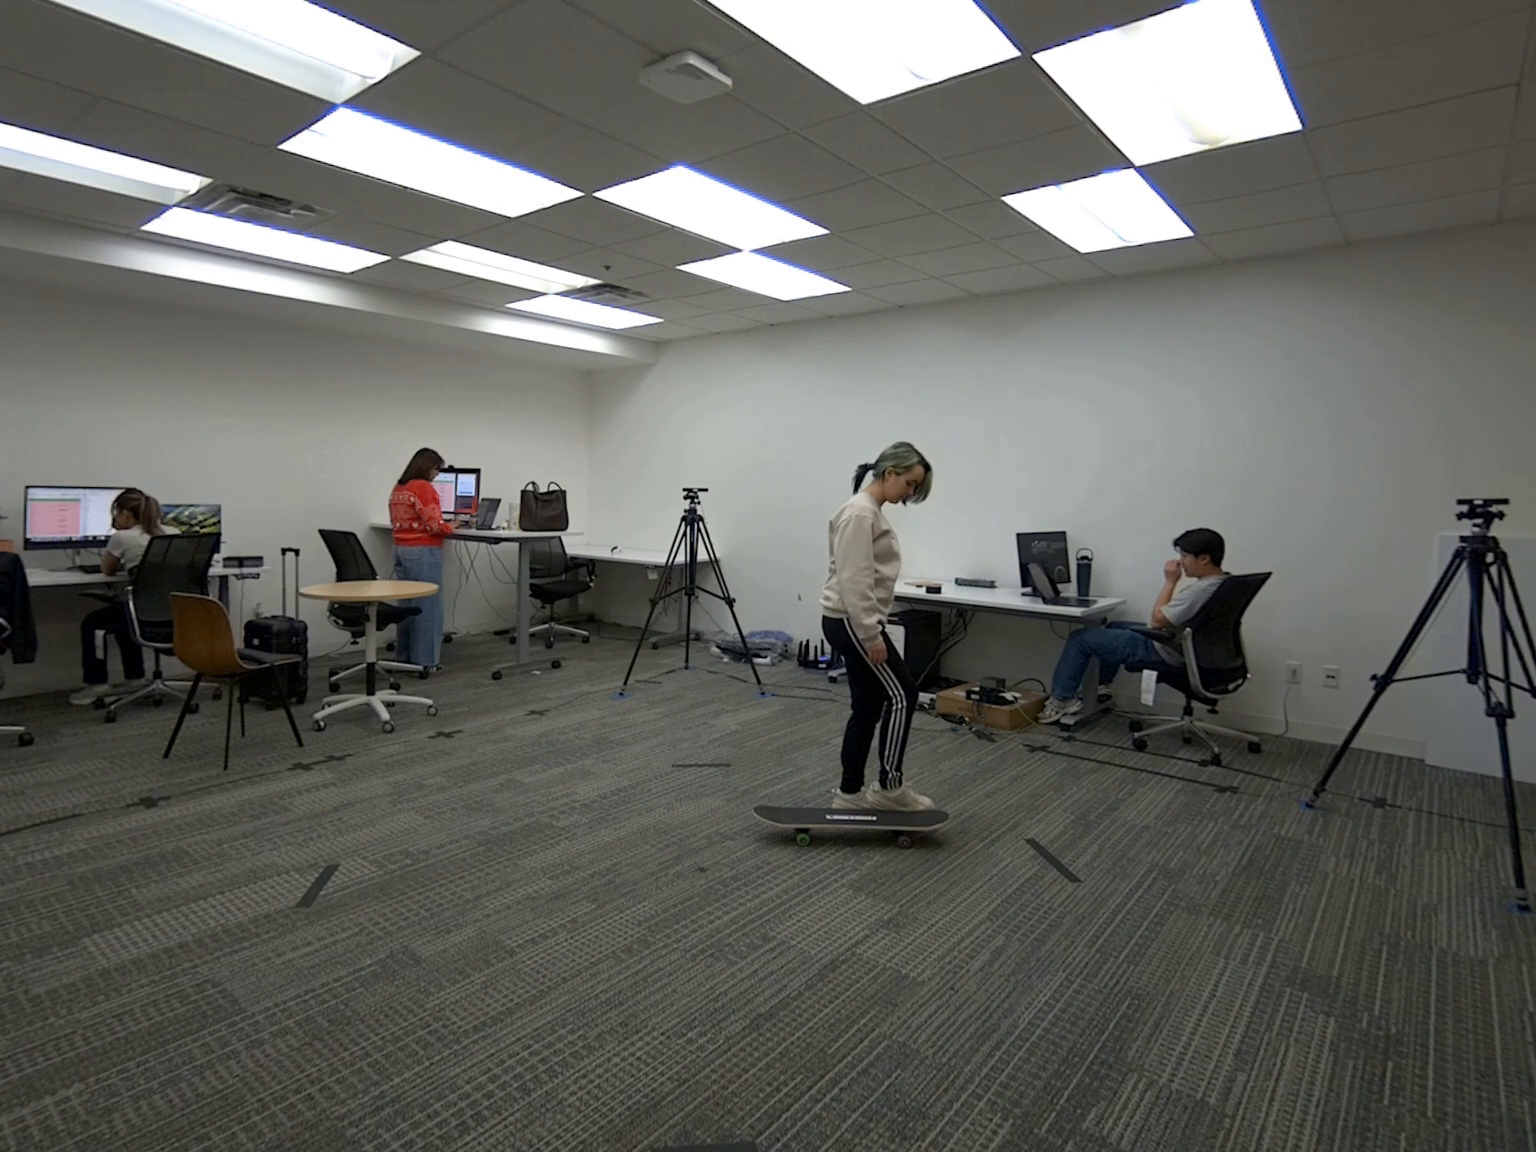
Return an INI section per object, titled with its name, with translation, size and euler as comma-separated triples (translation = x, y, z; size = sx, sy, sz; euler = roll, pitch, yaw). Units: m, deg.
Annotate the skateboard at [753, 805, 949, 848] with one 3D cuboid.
[skateboard]
translation = 0.315, 0.990, 3.409
size = 0.786, 0.110, 0.194
euler = 1, 4, 0
